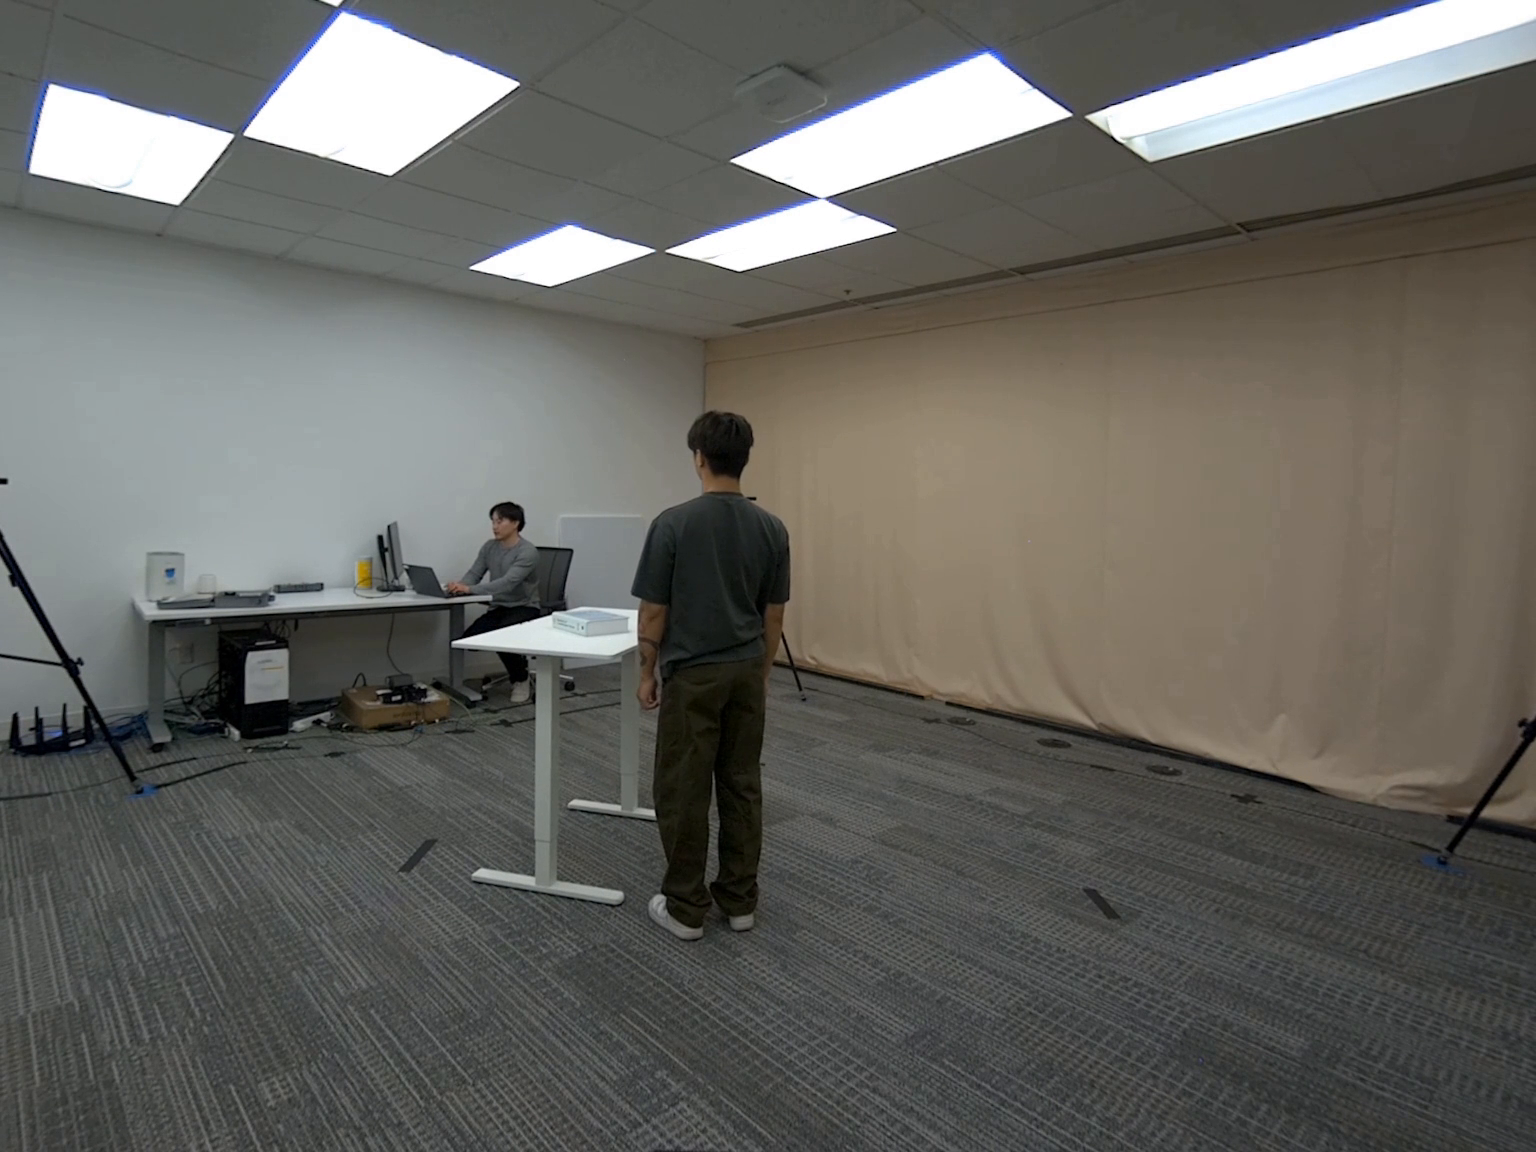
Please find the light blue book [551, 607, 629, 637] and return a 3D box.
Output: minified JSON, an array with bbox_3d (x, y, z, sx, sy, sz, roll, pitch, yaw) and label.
[{"bbox_3d":[-0.687,0.177,3.198,0.187,0.059,0.268,-4,8,-41],"label":"light blue book"}]
